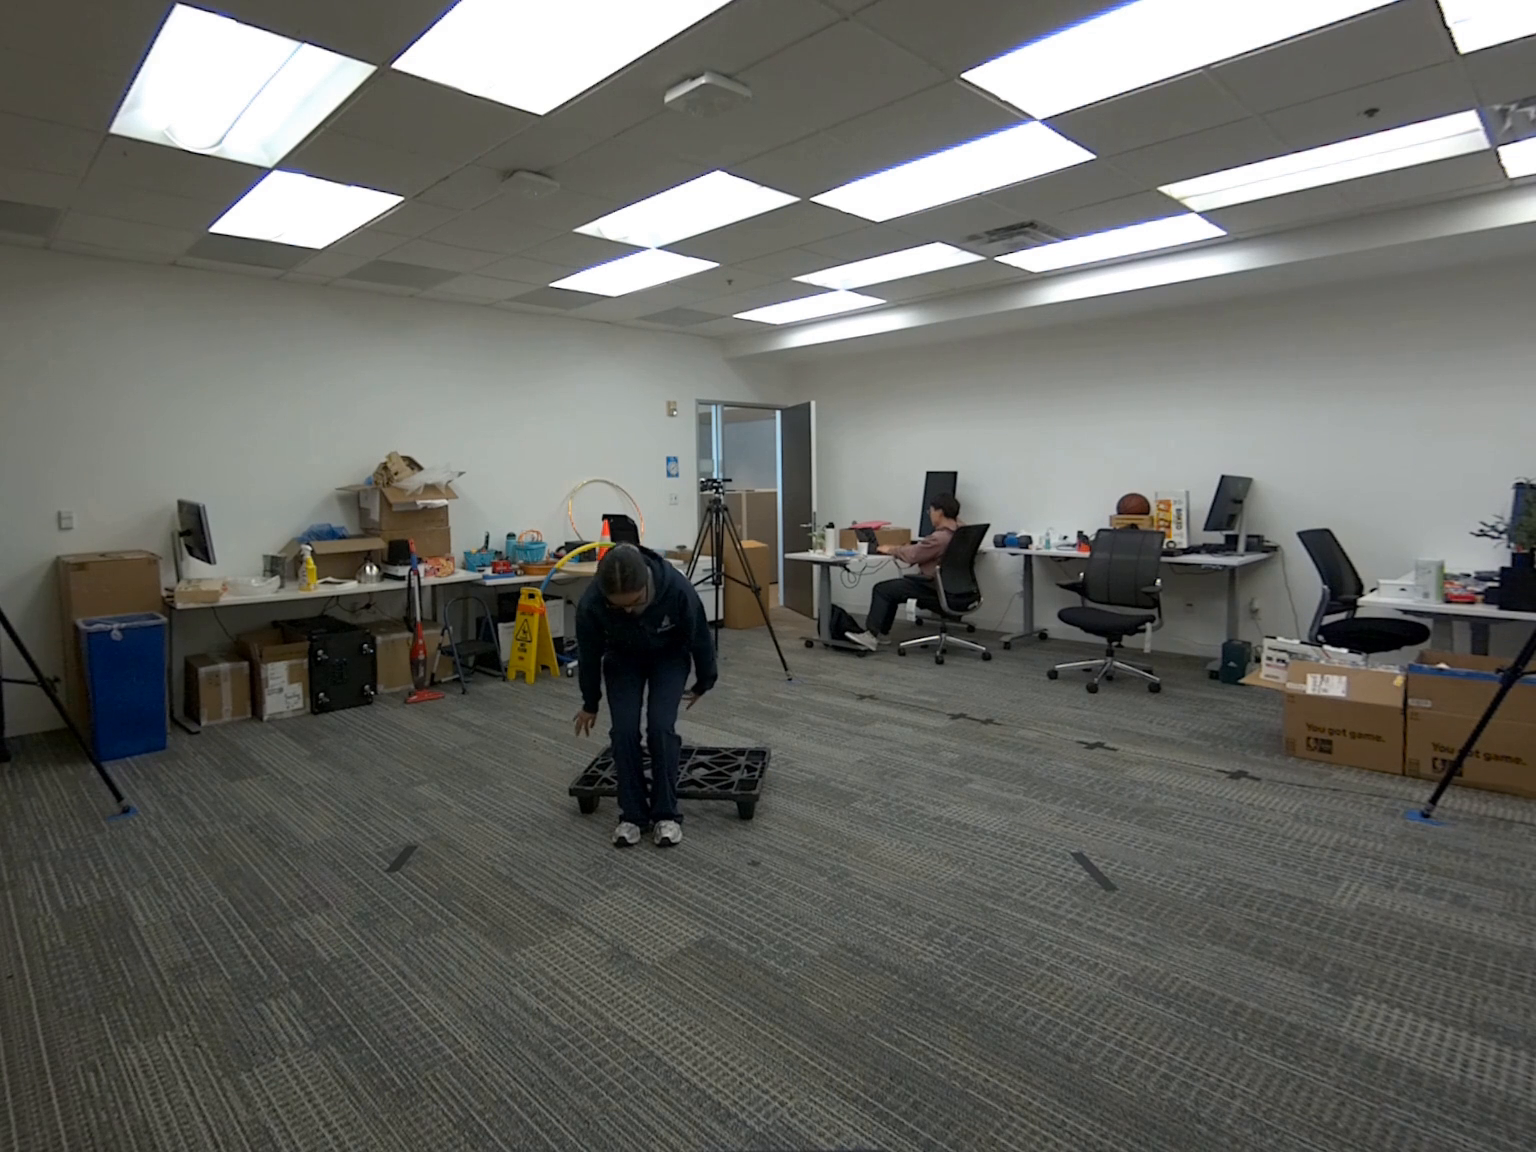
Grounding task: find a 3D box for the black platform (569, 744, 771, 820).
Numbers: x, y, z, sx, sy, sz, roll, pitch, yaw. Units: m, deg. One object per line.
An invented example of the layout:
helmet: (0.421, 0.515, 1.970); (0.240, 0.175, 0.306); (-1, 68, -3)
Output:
black platform: (-0.406, 0.907, 3.788); (0.812, 0.143, 0.603); (0, 5, 7)
